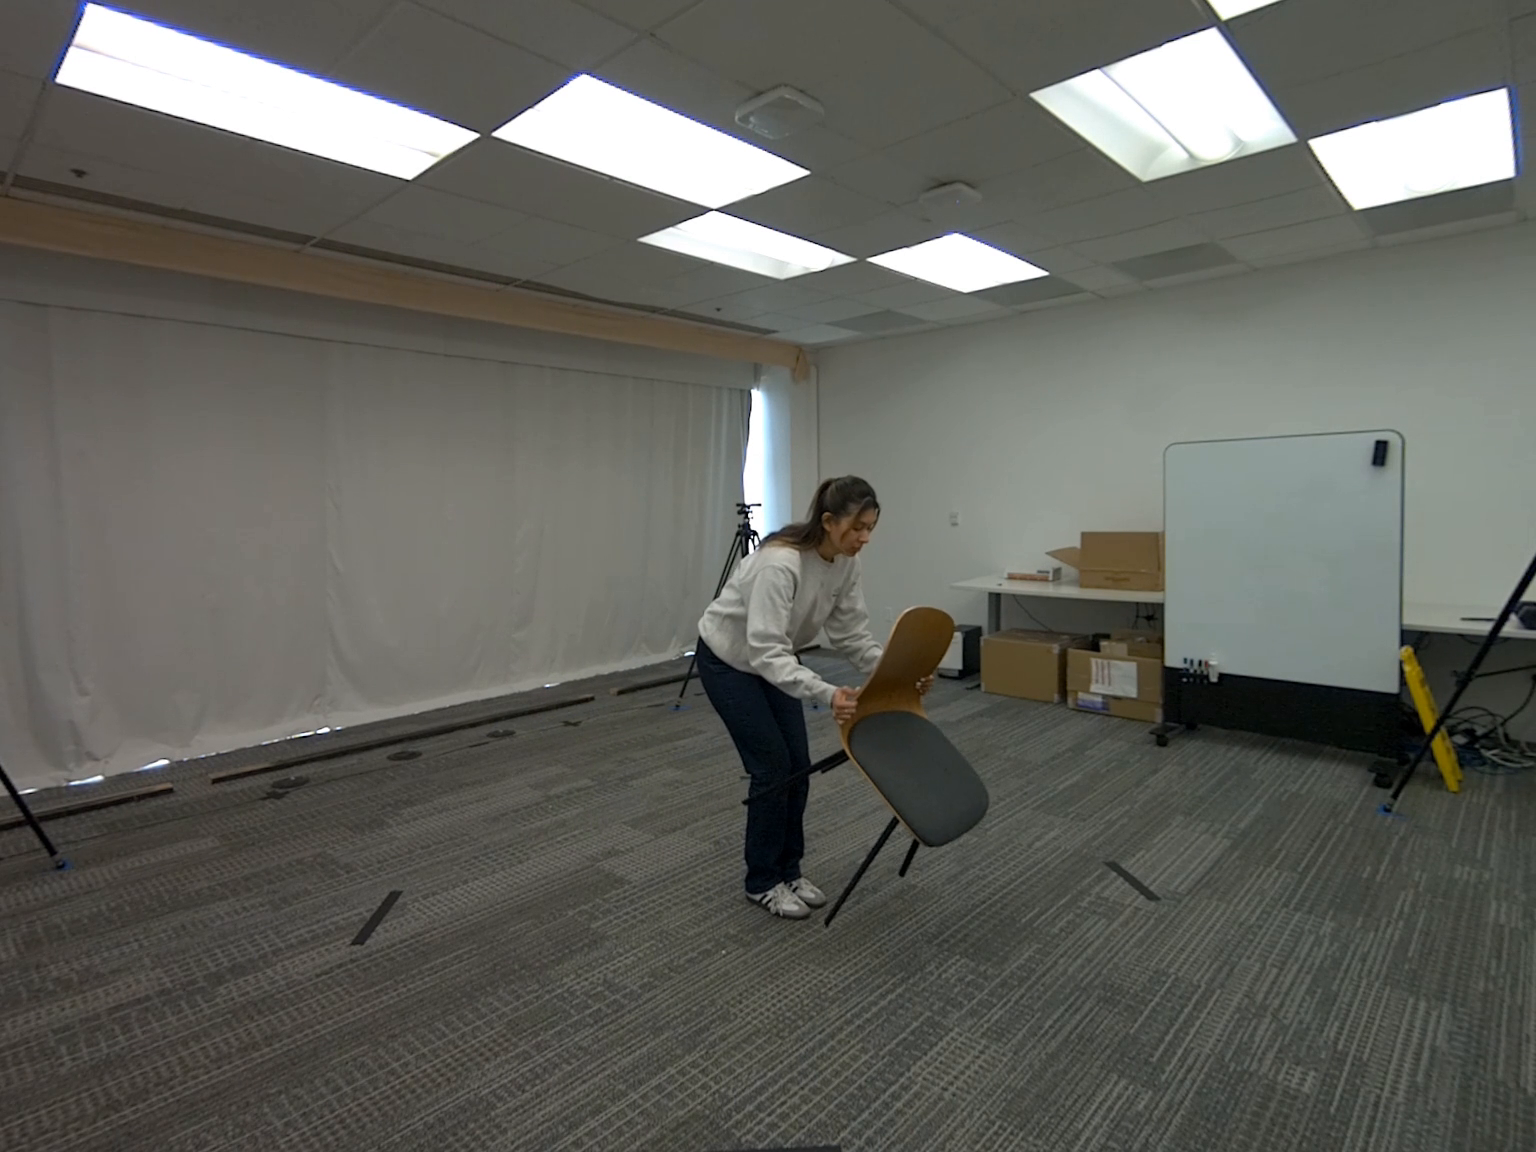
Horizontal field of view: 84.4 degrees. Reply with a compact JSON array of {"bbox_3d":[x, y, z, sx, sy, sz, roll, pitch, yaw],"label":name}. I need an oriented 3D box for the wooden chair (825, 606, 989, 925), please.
[{"bbox_3d":[0.417,0.592,2.595,0.464,0.877,0.539,-5,44,-49],"label":"wooden chair"}]
